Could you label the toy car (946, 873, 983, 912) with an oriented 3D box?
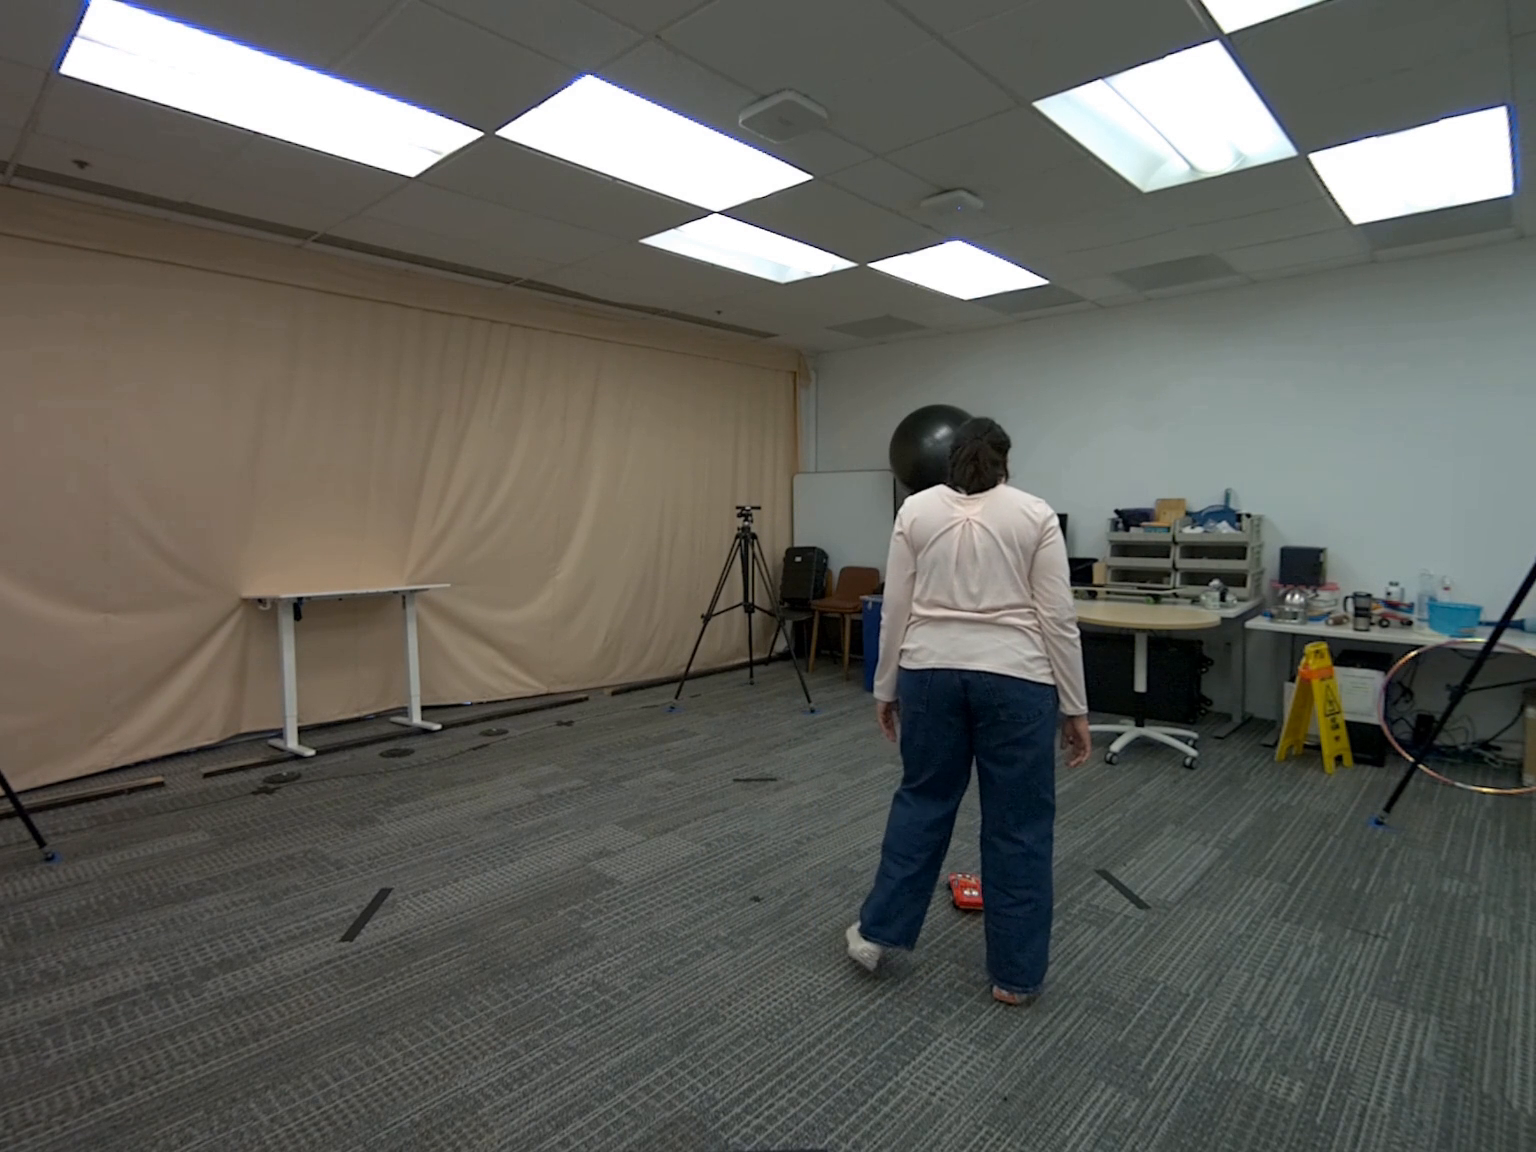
[{"bbox_3d":[0.710,1.116,2.958,0.131,0.084,0.251,-1,-8,6],"label":"toy car"}]
